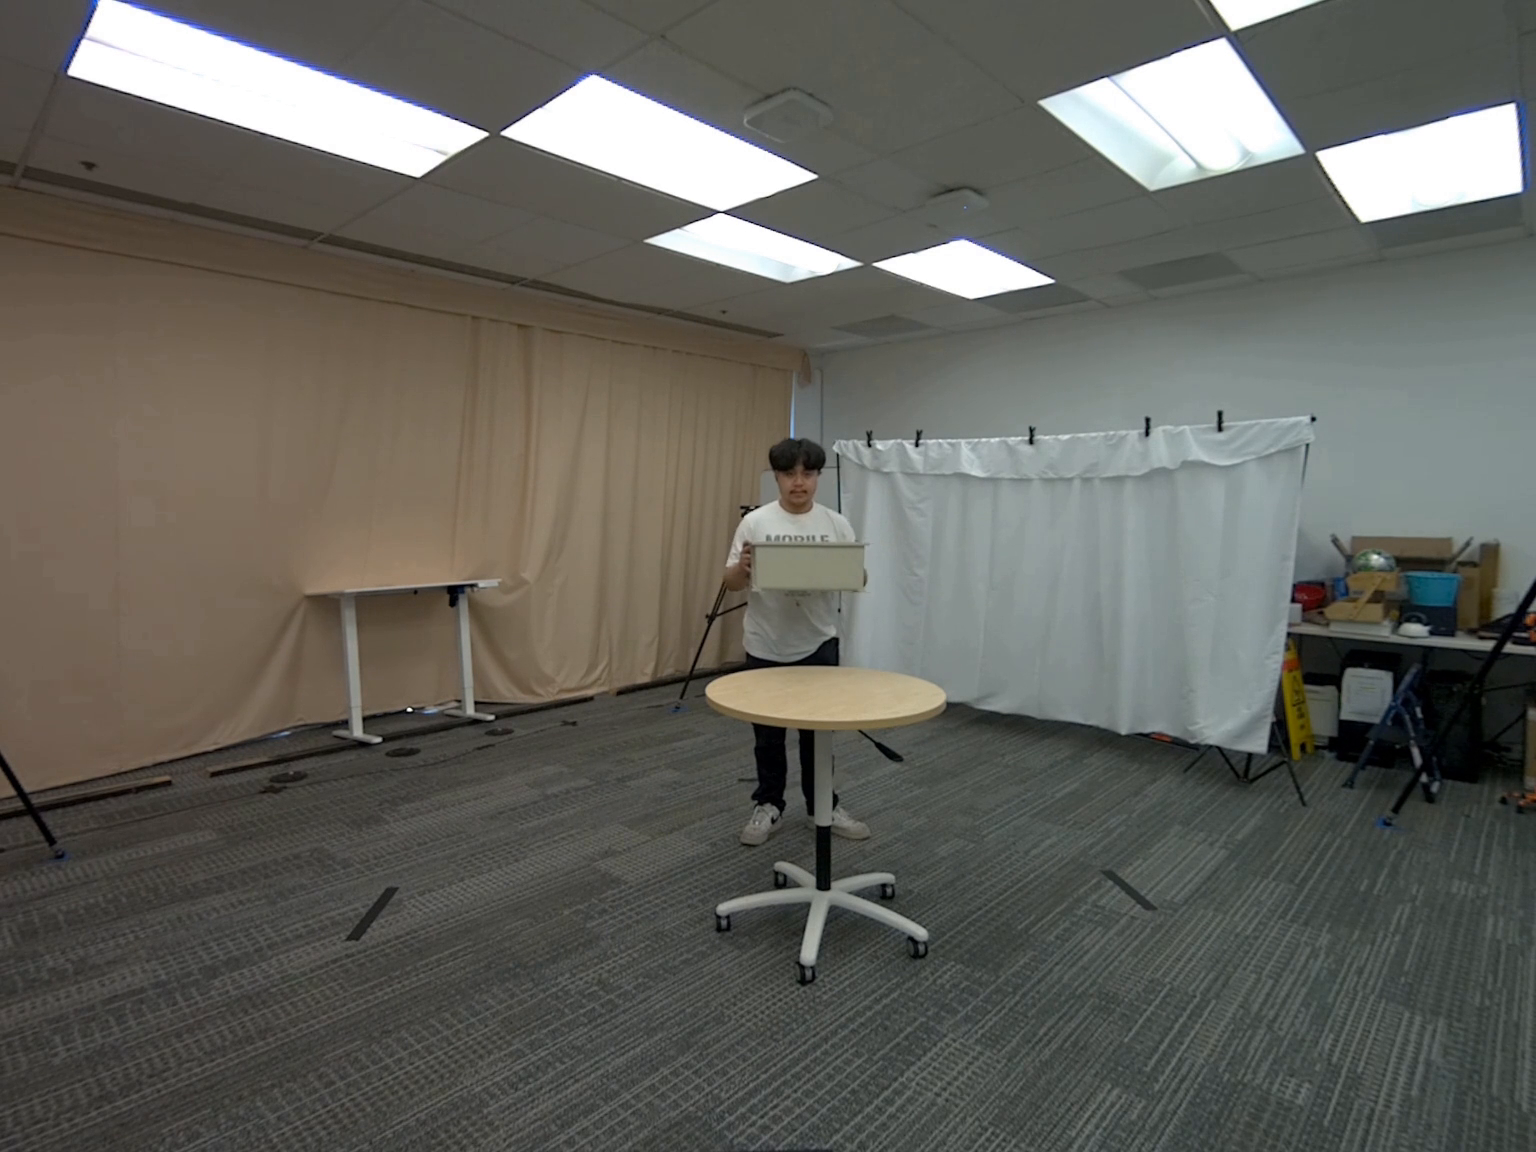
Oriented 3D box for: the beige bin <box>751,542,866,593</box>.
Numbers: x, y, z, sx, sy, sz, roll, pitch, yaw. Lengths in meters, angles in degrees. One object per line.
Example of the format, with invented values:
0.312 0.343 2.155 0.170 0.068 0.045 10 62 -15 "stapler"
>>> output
0.136 -0.030 3.179 0.421 0.189 0.379 0 3 -4 "beige bin"
